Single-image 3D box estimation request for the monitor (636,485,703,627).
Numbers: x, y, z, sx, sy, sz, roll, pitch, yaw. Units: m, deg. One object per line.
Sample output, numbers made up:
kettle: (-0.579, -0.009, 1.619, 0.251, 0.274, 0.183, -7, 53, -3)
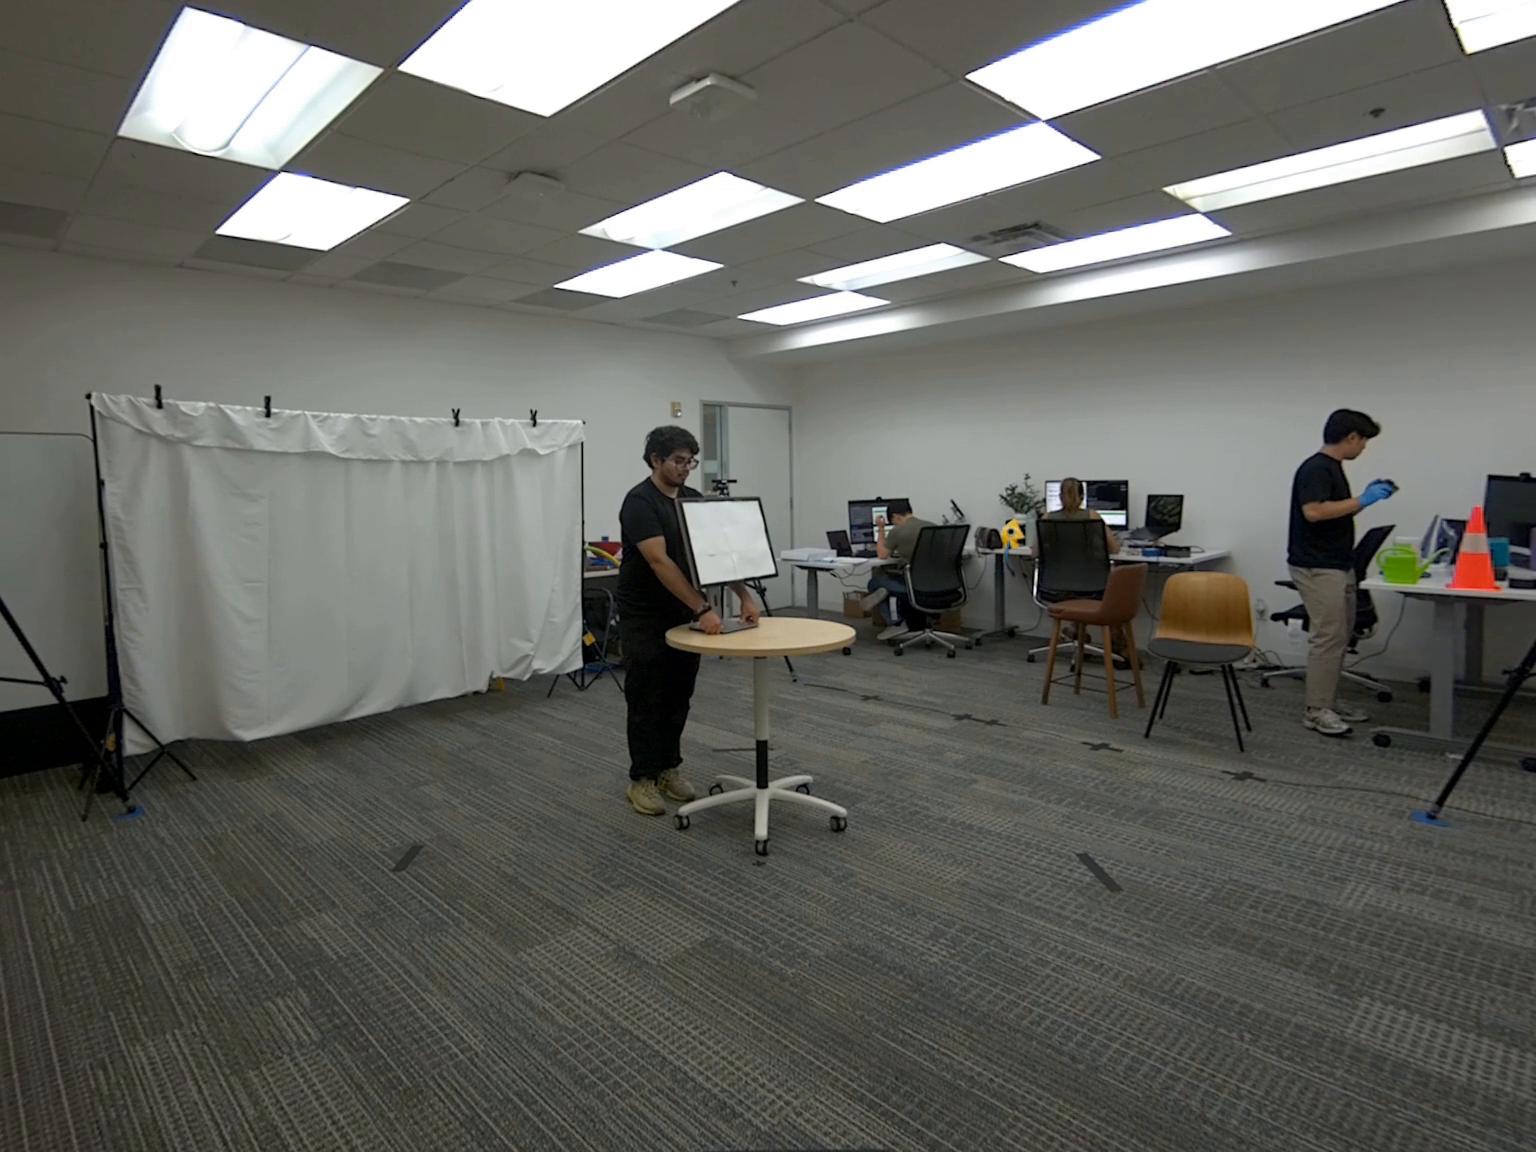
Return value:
monitor: (-0.208, -0.049, 3.567, 0.215, 0.555, 0.551, -9, -1, 37)
